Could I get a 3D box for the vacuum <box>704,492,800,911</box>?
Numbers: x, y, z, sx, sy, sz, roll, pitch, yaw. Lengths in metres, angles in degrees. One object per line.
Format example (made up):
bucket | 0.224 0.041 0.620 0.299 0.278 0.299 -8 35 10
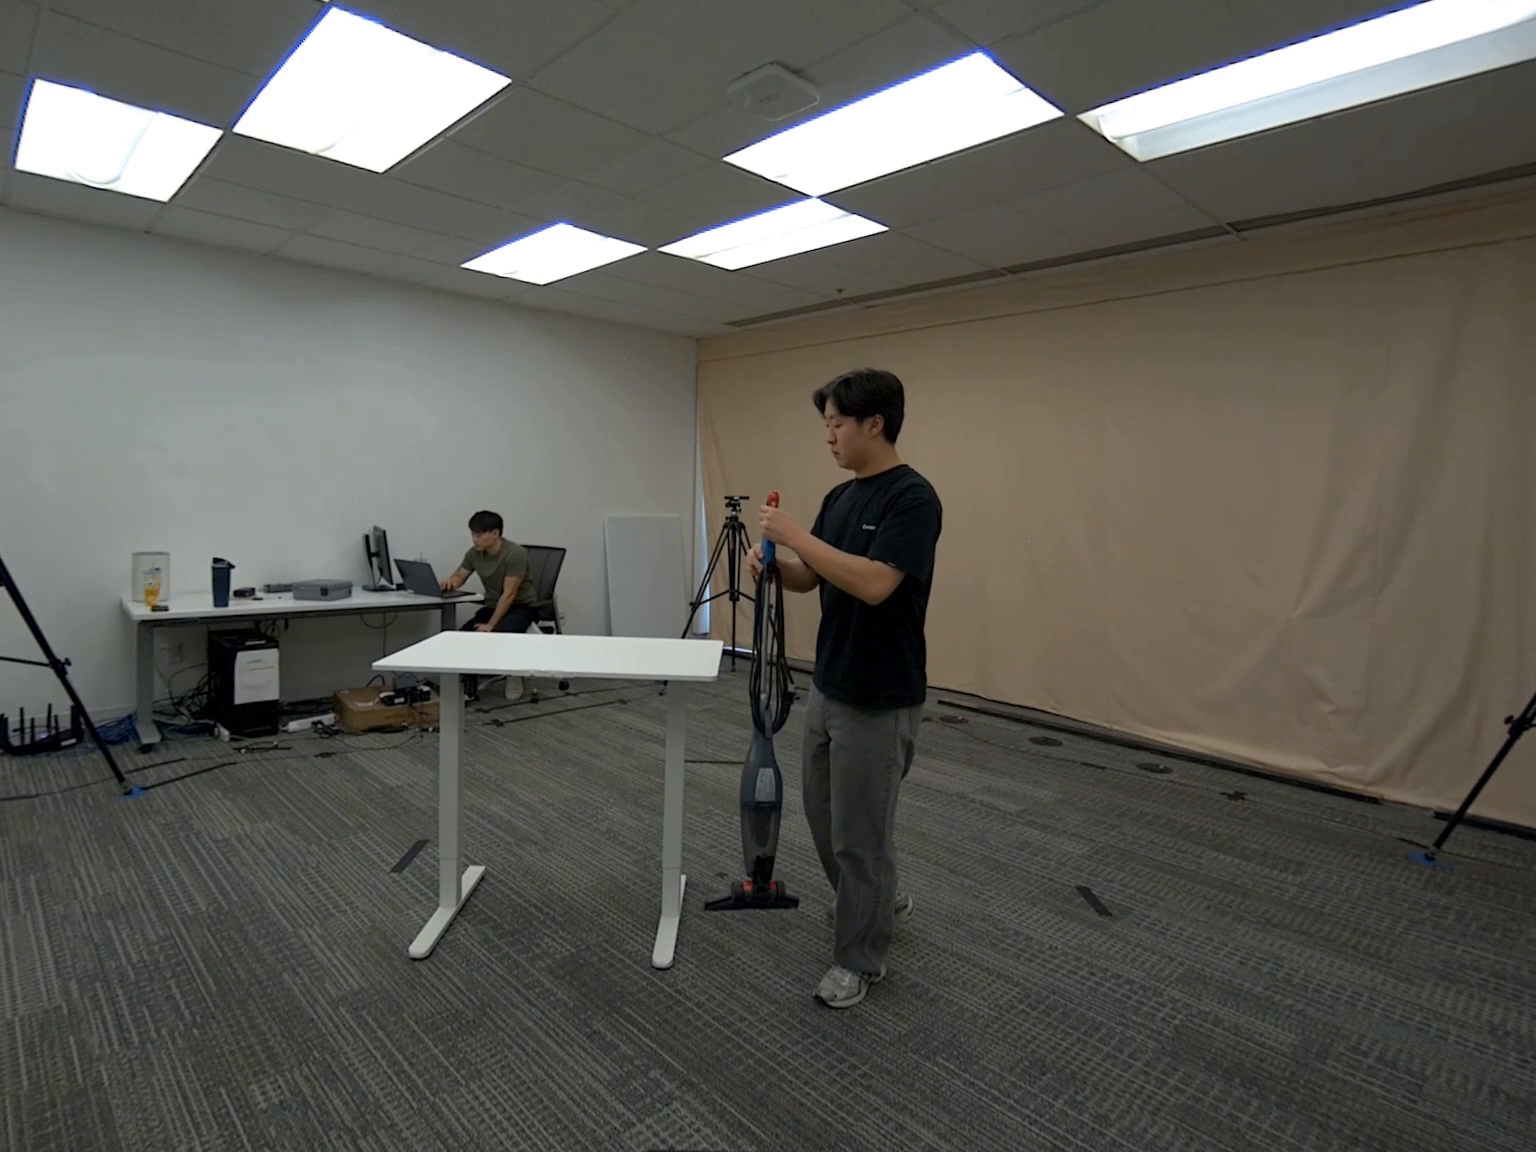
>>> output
vacuum | -0.012 0.329 2.188 0.250 1.049 0.145 3 0 -10
